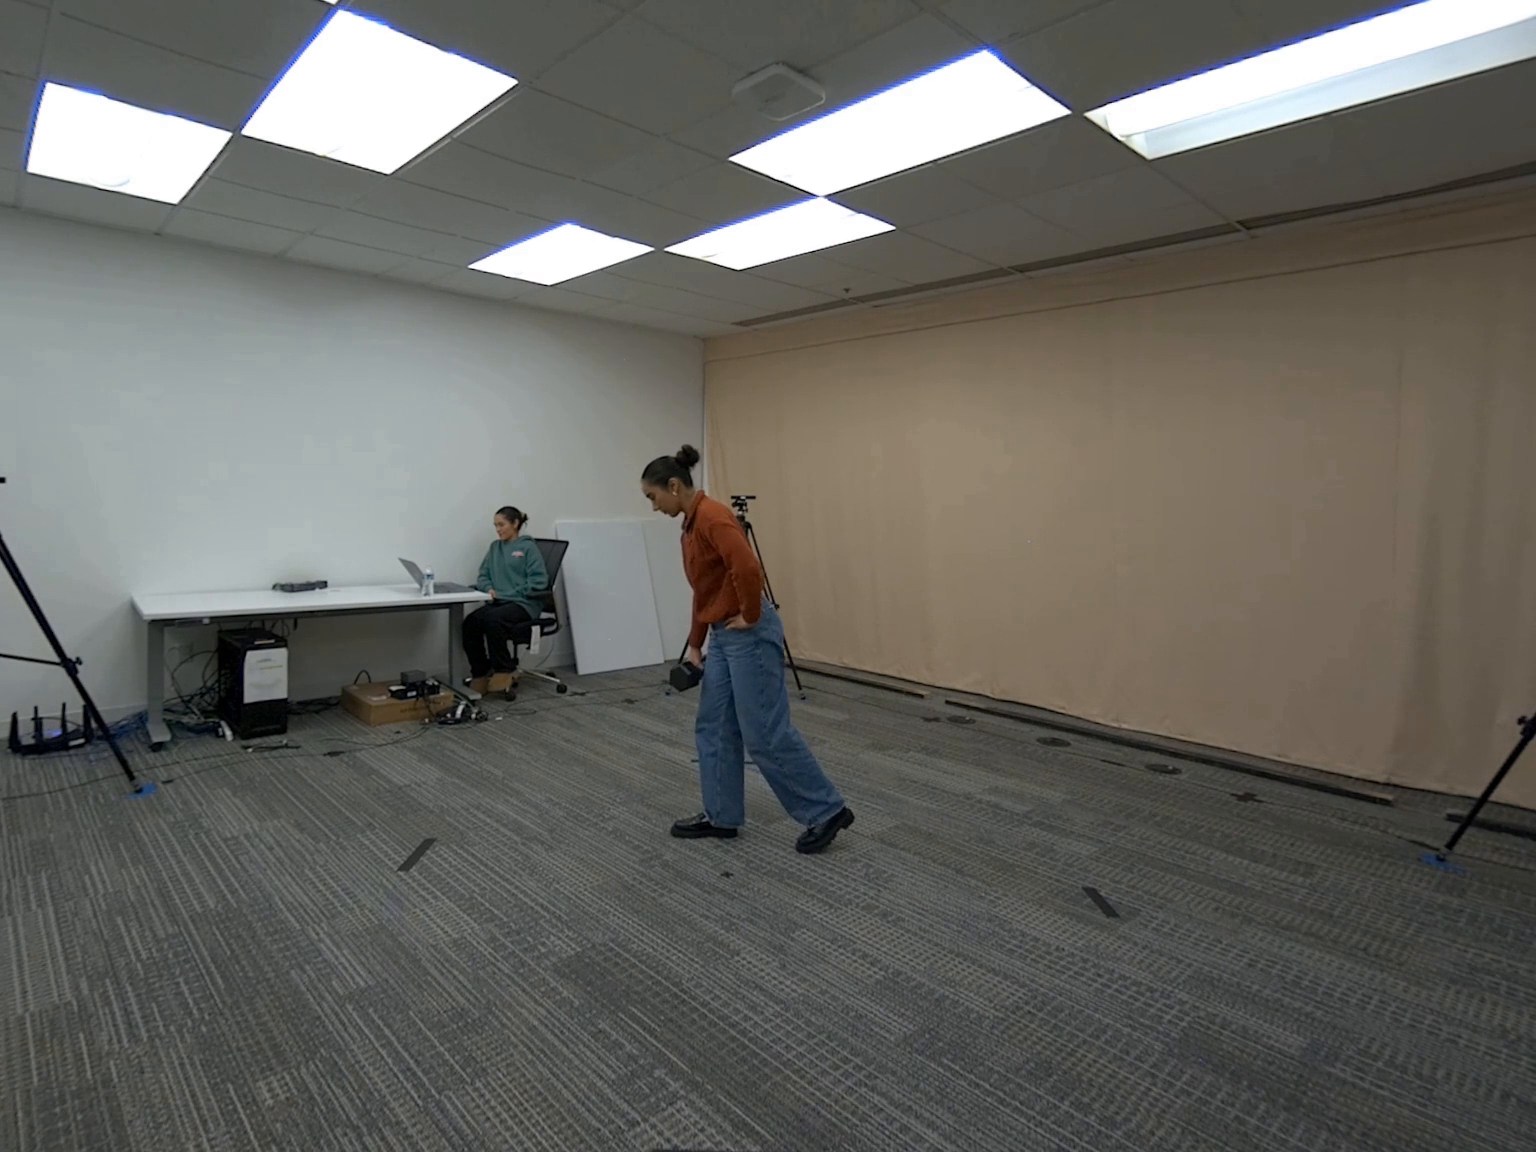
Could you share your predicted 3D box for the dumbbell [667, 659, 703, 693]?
[{"bbox_3d":[-0.295,0.404,3.535,0.111,0.122,0.288,11,11,30],"label":"dumbbell"}]
